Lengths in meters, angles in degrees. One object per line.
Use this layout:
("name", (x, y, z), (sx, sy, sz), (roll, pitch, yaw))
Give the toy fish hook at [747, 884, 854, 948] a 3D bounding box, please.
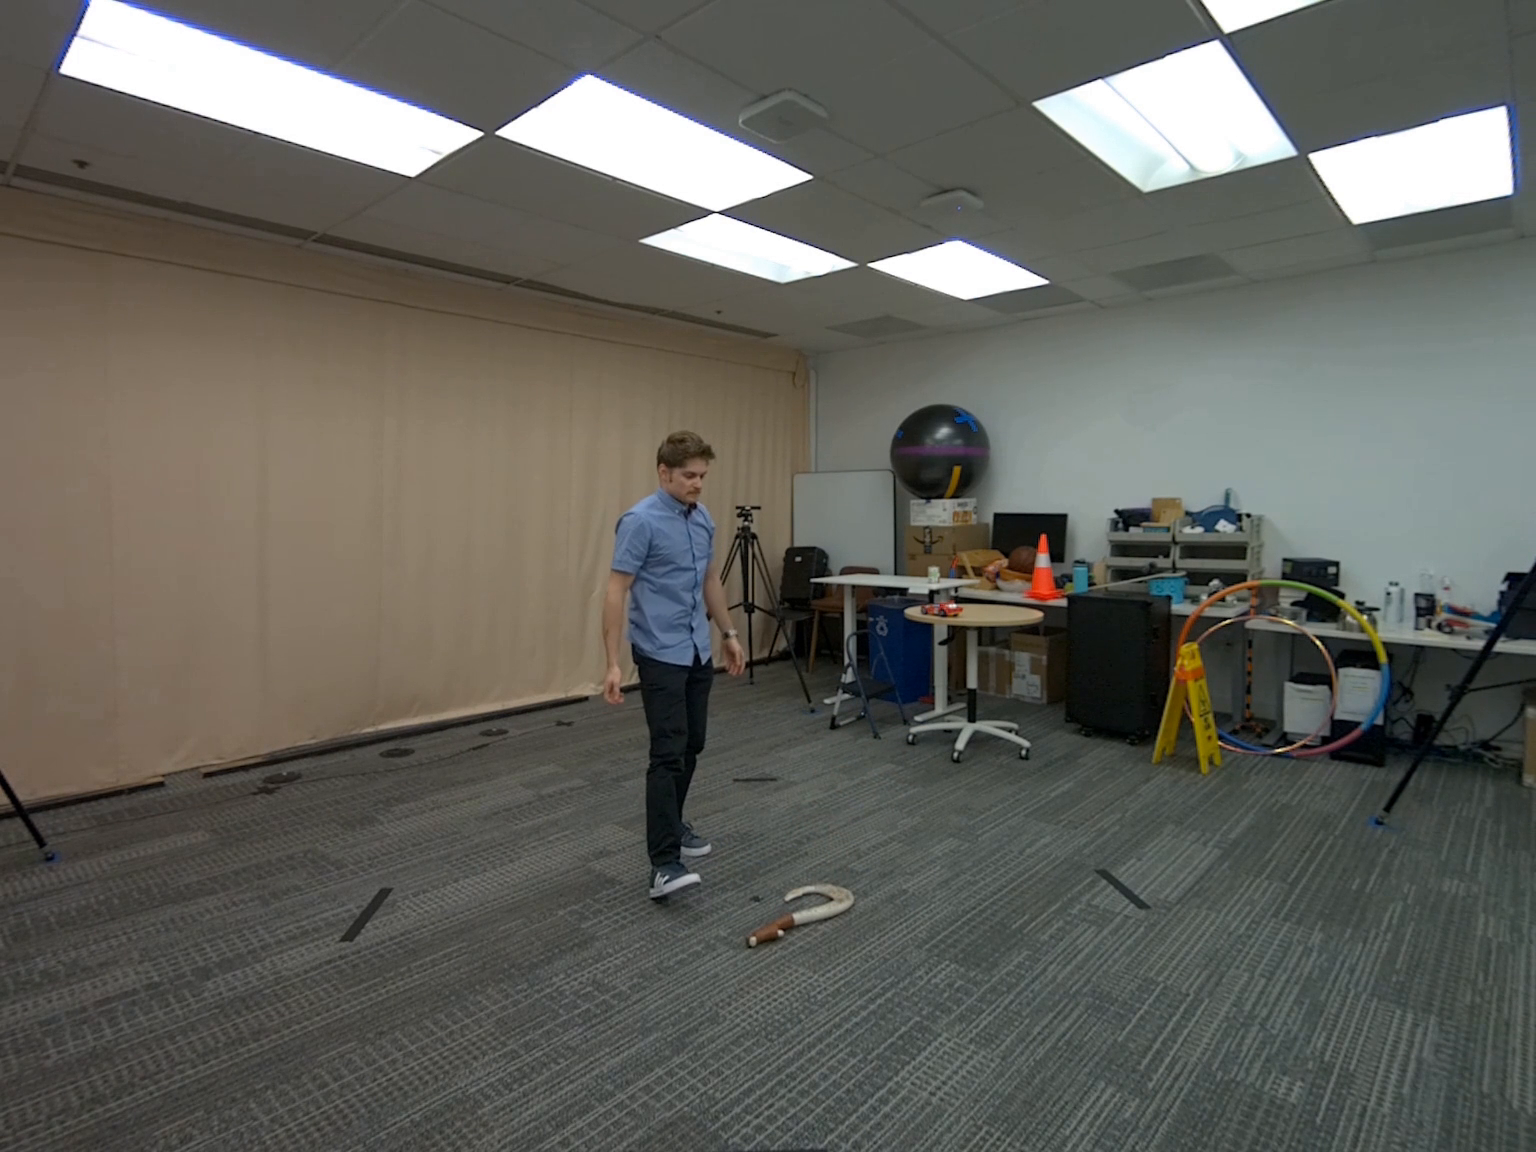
("toy fish hook", (0.082, 1.140, 2.850), (0.491, 0.048, 0.231), (-4, -2, -43))
